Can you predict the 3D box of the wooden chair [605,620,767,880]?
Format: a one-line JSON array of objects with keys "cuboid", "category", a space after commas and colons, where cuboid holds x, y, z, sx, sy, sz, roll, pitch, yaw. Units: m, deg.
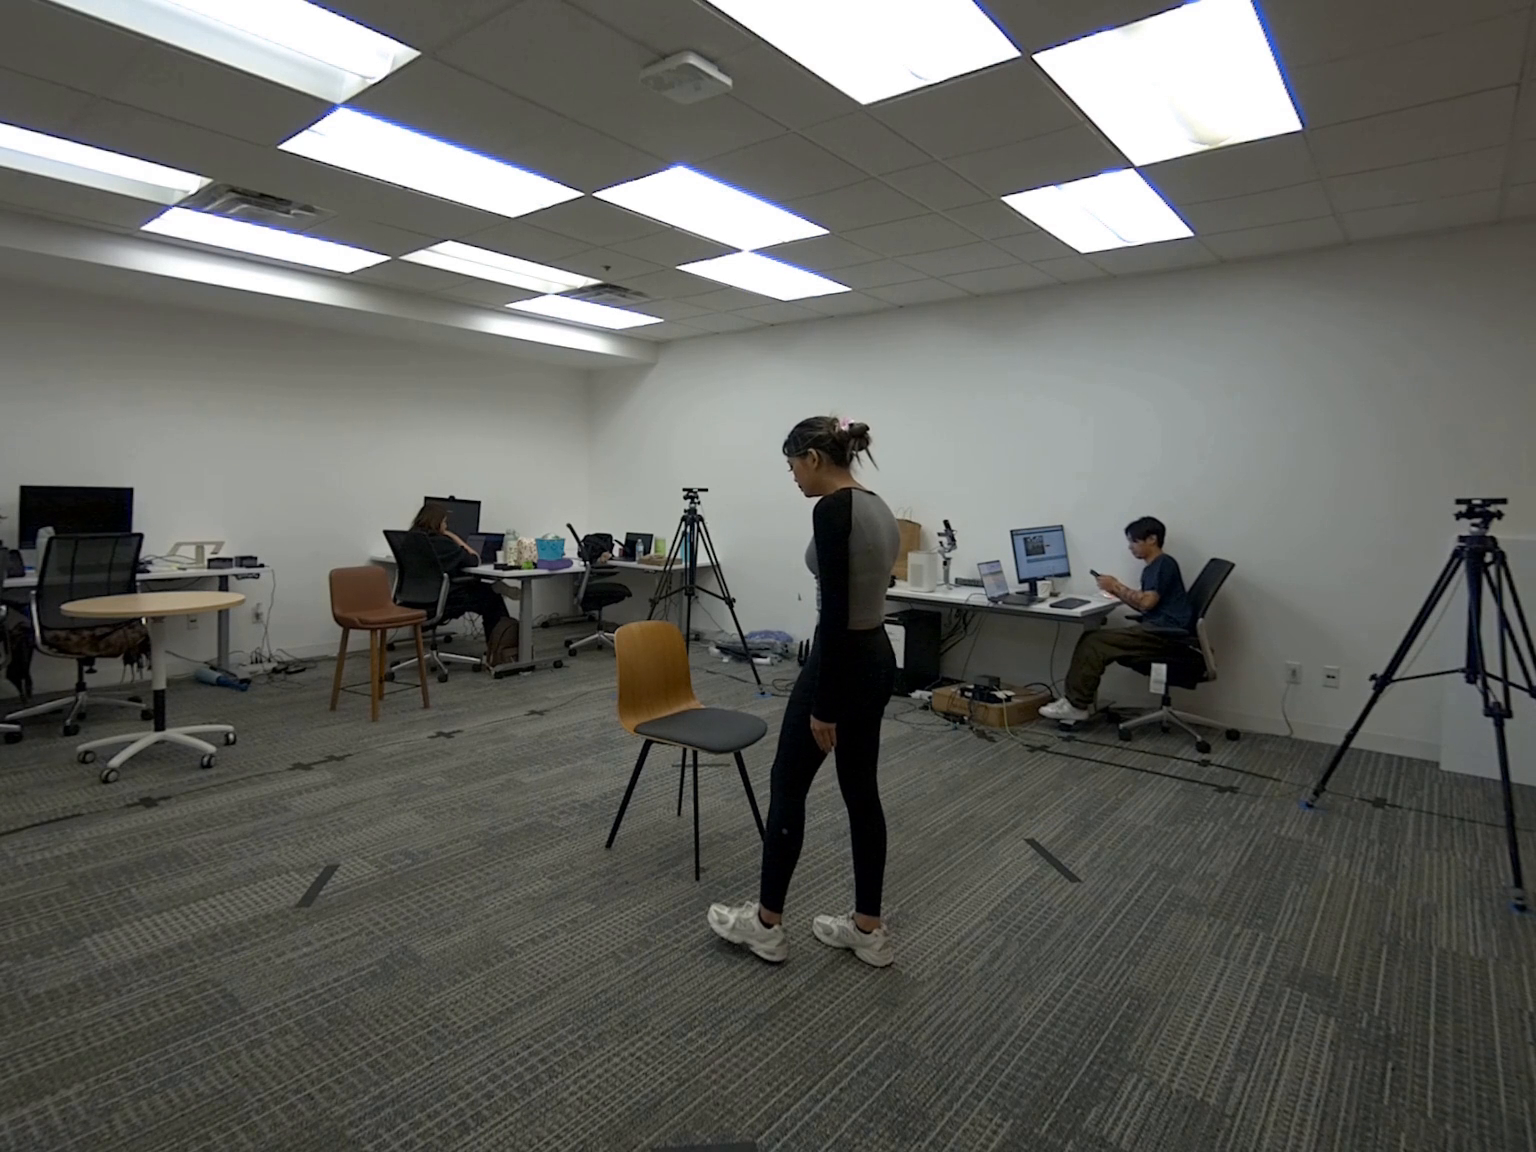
[{"cuboid": [-0.309, 0.622, 3.289, 0.538, 0.877, 0.464, -2, 0, 35], "category": "wooden chair"}]
